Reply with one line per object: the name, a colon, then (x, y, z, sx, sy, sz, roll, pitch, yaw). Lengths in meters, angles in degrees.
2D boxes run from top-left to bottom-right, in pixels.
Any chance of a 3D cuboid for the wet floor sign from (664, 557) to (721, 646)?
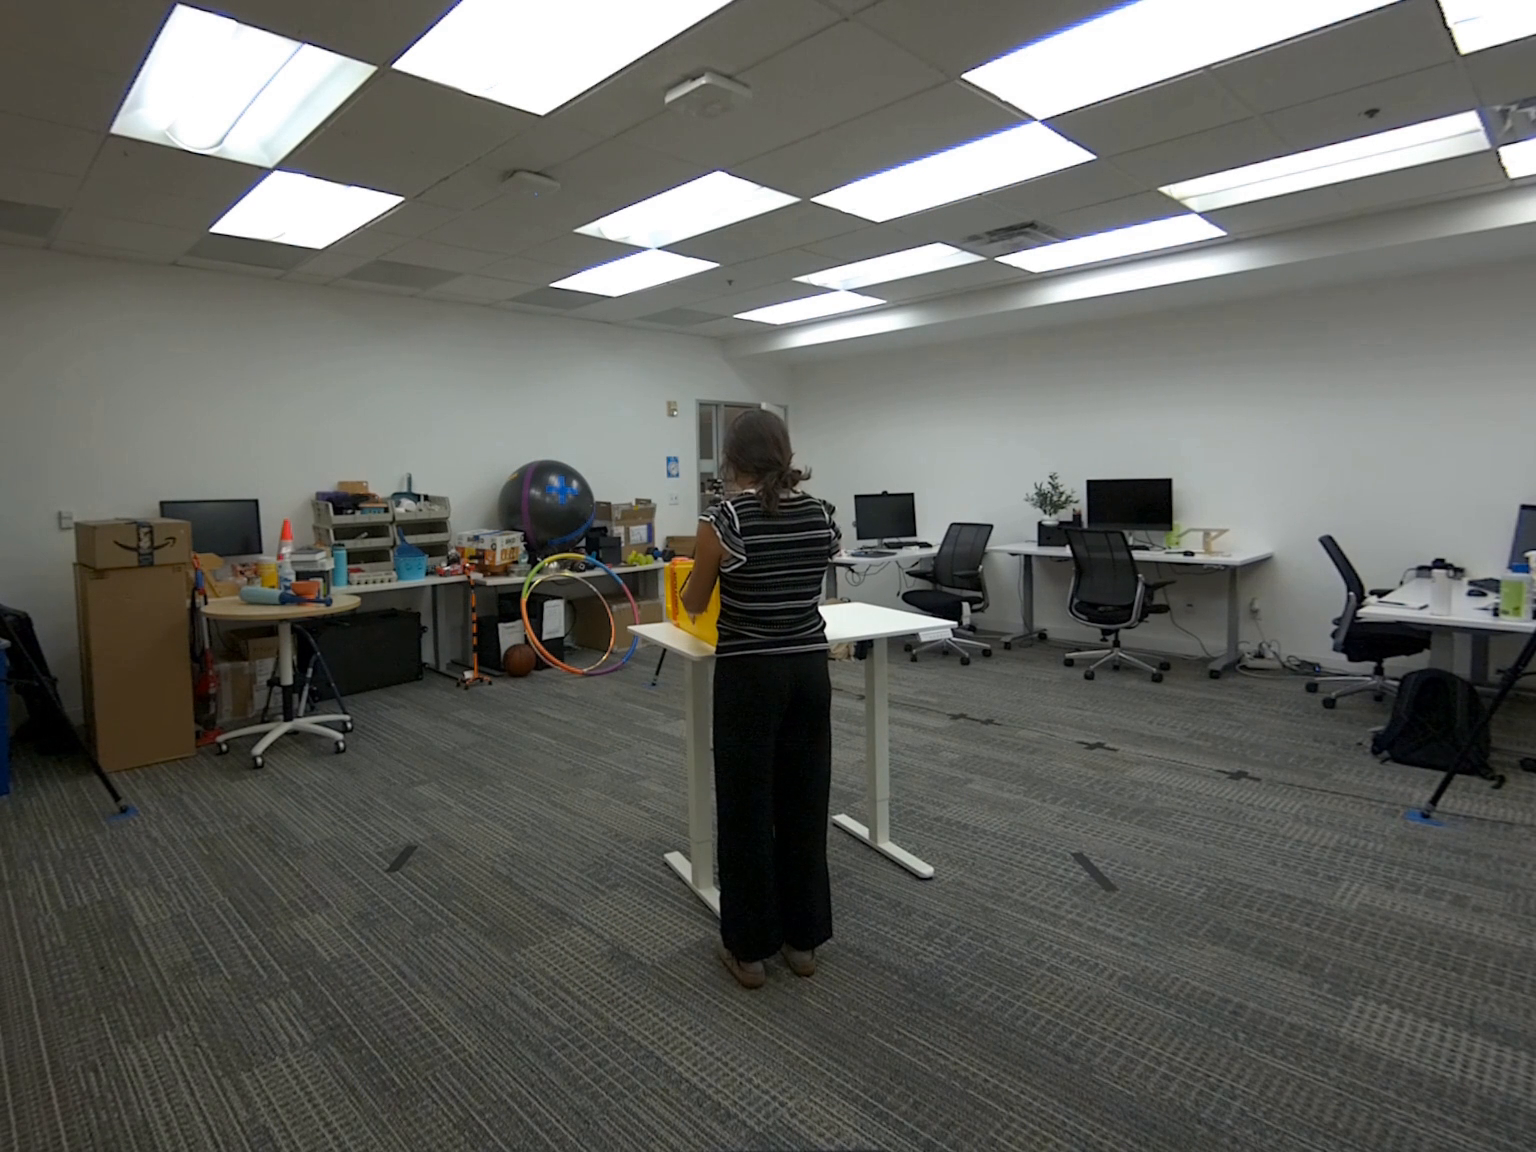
wet floor sign: (-0.202, 0.068, 2.886, 0.283, 0.281, 0.663, -6, 5, -32)
